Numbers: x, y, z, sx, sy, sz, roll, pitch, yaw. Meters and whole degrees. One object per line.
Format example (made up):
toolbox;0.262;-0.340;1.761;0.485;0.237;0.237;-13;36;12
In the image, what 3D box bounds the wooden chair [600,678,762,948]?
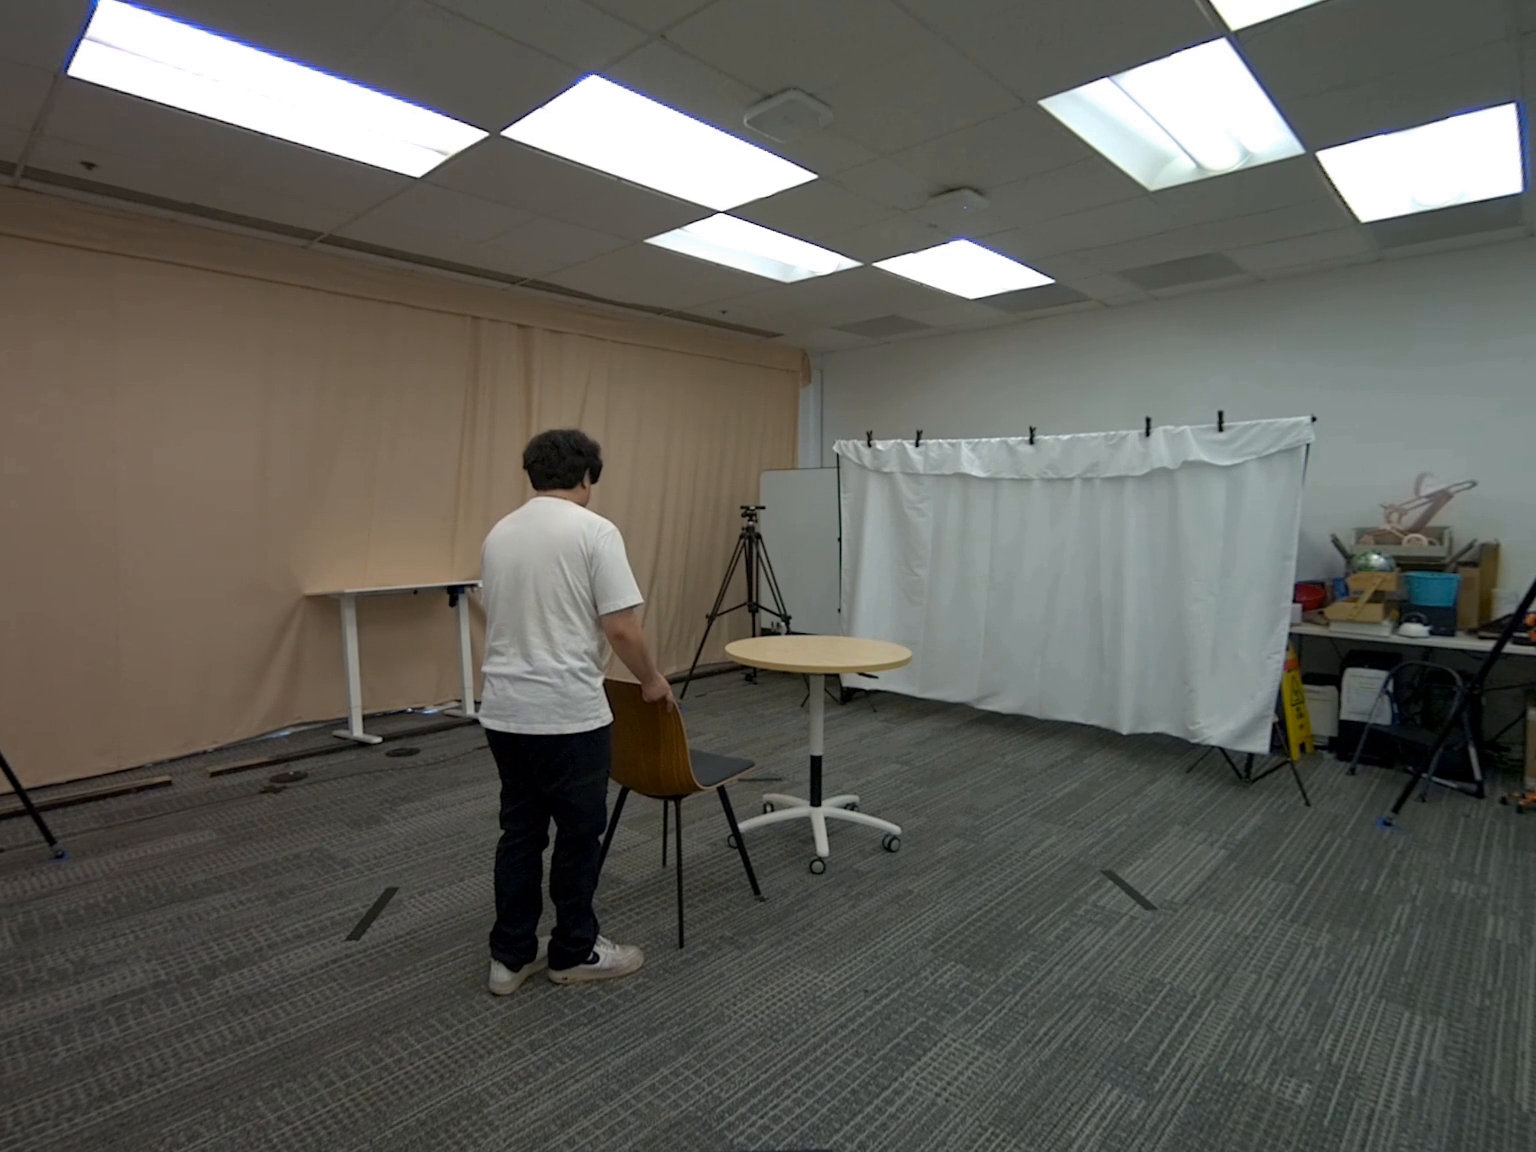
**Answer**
wooden chair;-0.330;0.720;2.938;0.493;0.873;0.509;1;8;36
